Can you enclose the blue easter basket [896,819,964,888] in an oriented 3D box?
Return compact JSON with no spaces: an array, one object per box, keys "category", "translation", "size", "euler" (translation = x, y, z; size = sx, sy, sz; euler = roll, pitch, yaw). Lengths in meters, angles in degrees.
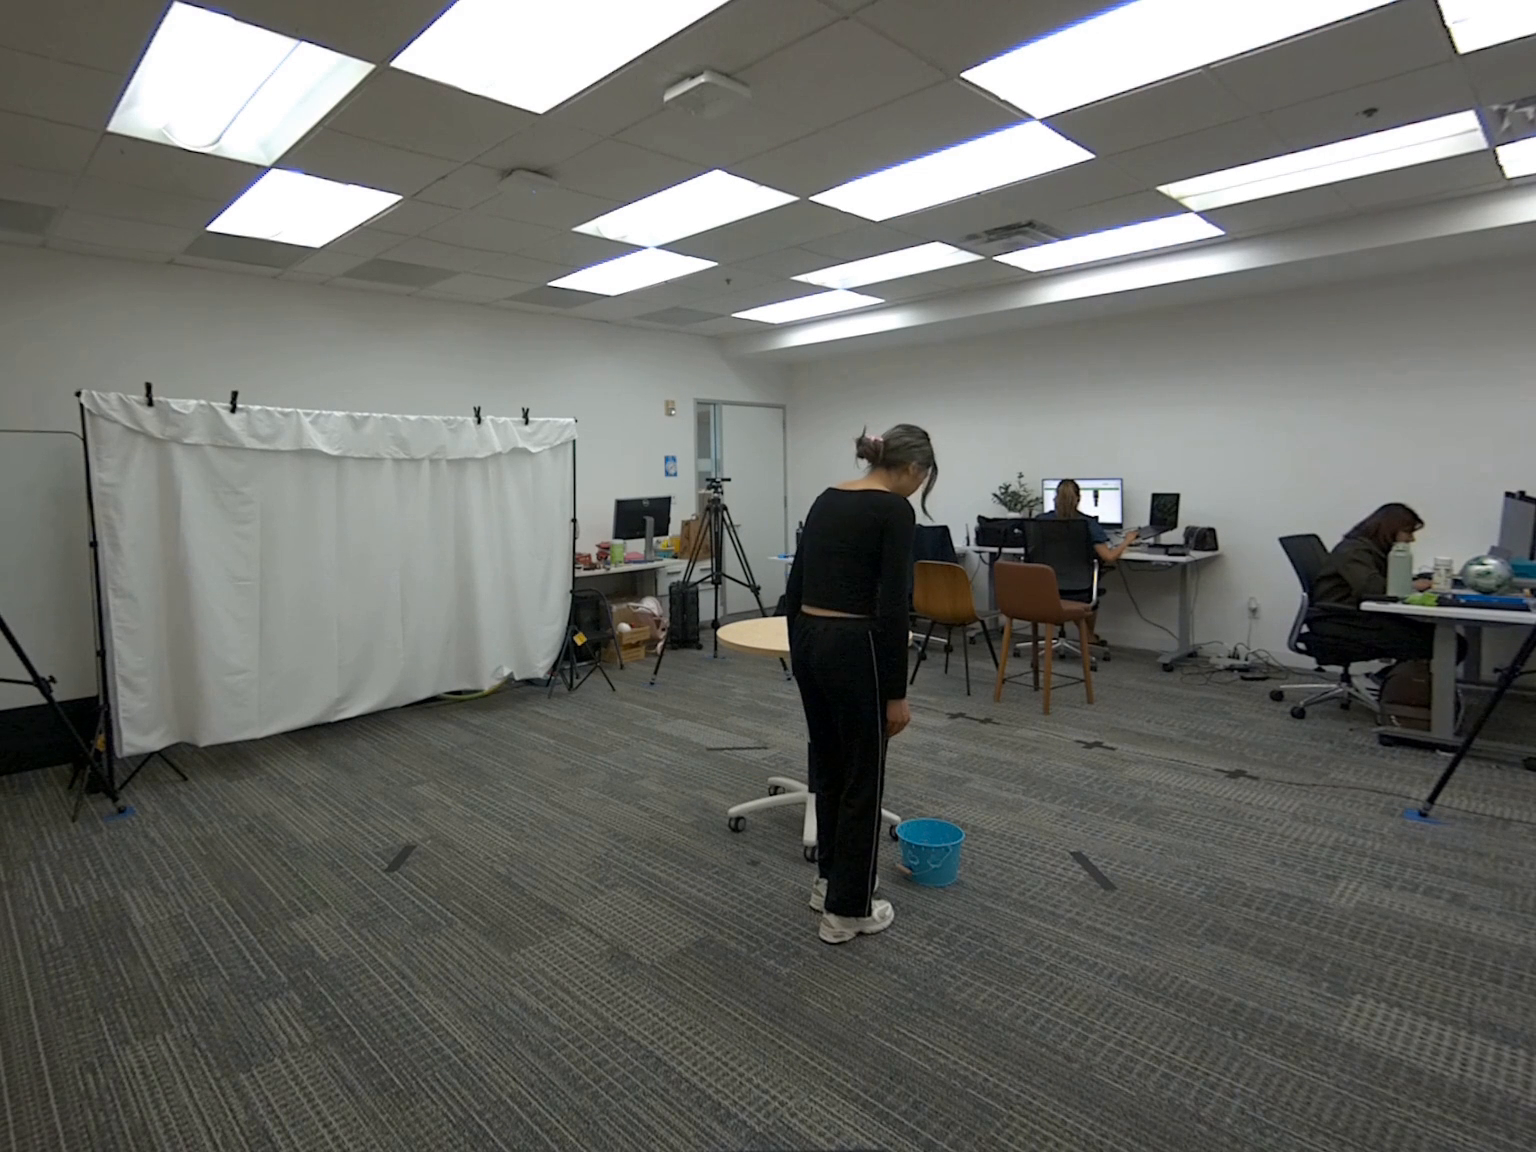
[{"category":"blue easter basket","translation":[0.566,0.968,2.989],"size":[0.243,0.155,0.245],"euler":[-1,5,-2]}]
